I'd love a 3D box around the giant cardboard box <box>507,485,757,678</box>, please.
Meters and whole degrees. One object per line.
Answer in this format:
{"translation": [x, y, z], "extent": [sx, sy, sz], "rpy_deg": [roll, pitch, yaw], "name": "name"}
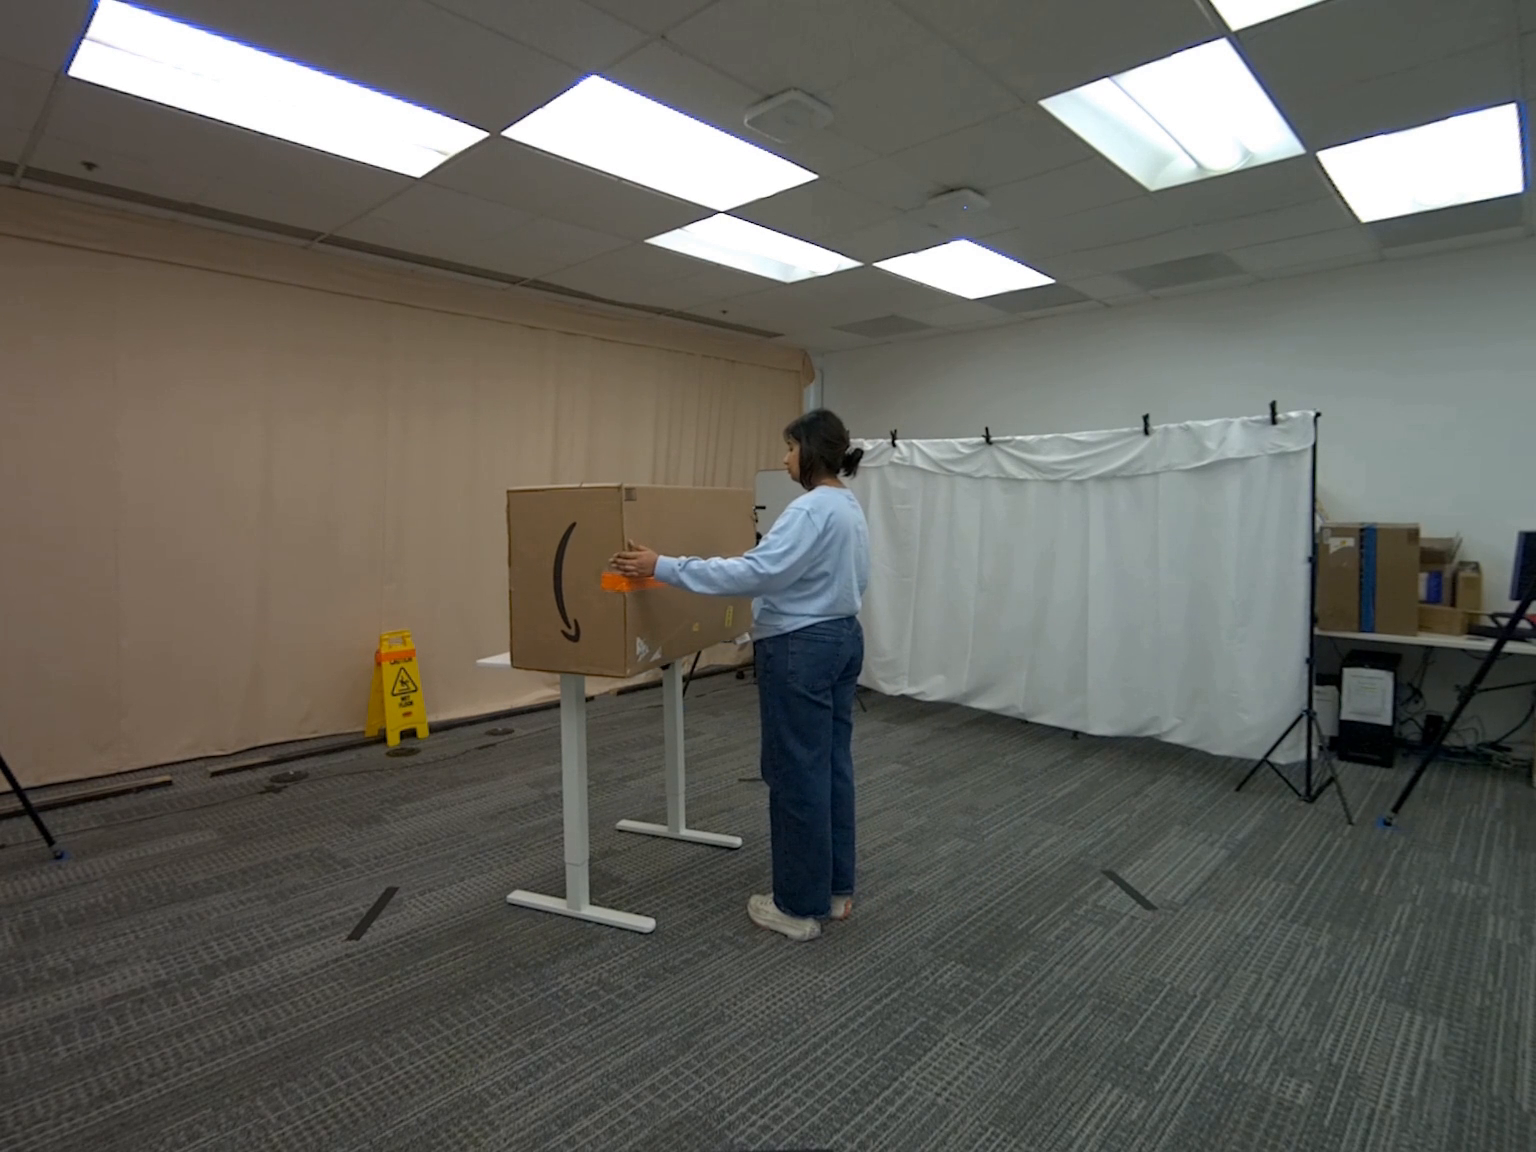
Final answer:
{"translation": [-0.443, -0.024, 3.041], "extent": [0.437, 0.576, 1.003], "rpy_deg": [1, 5, 23], "name": "giant cardboard box"}
